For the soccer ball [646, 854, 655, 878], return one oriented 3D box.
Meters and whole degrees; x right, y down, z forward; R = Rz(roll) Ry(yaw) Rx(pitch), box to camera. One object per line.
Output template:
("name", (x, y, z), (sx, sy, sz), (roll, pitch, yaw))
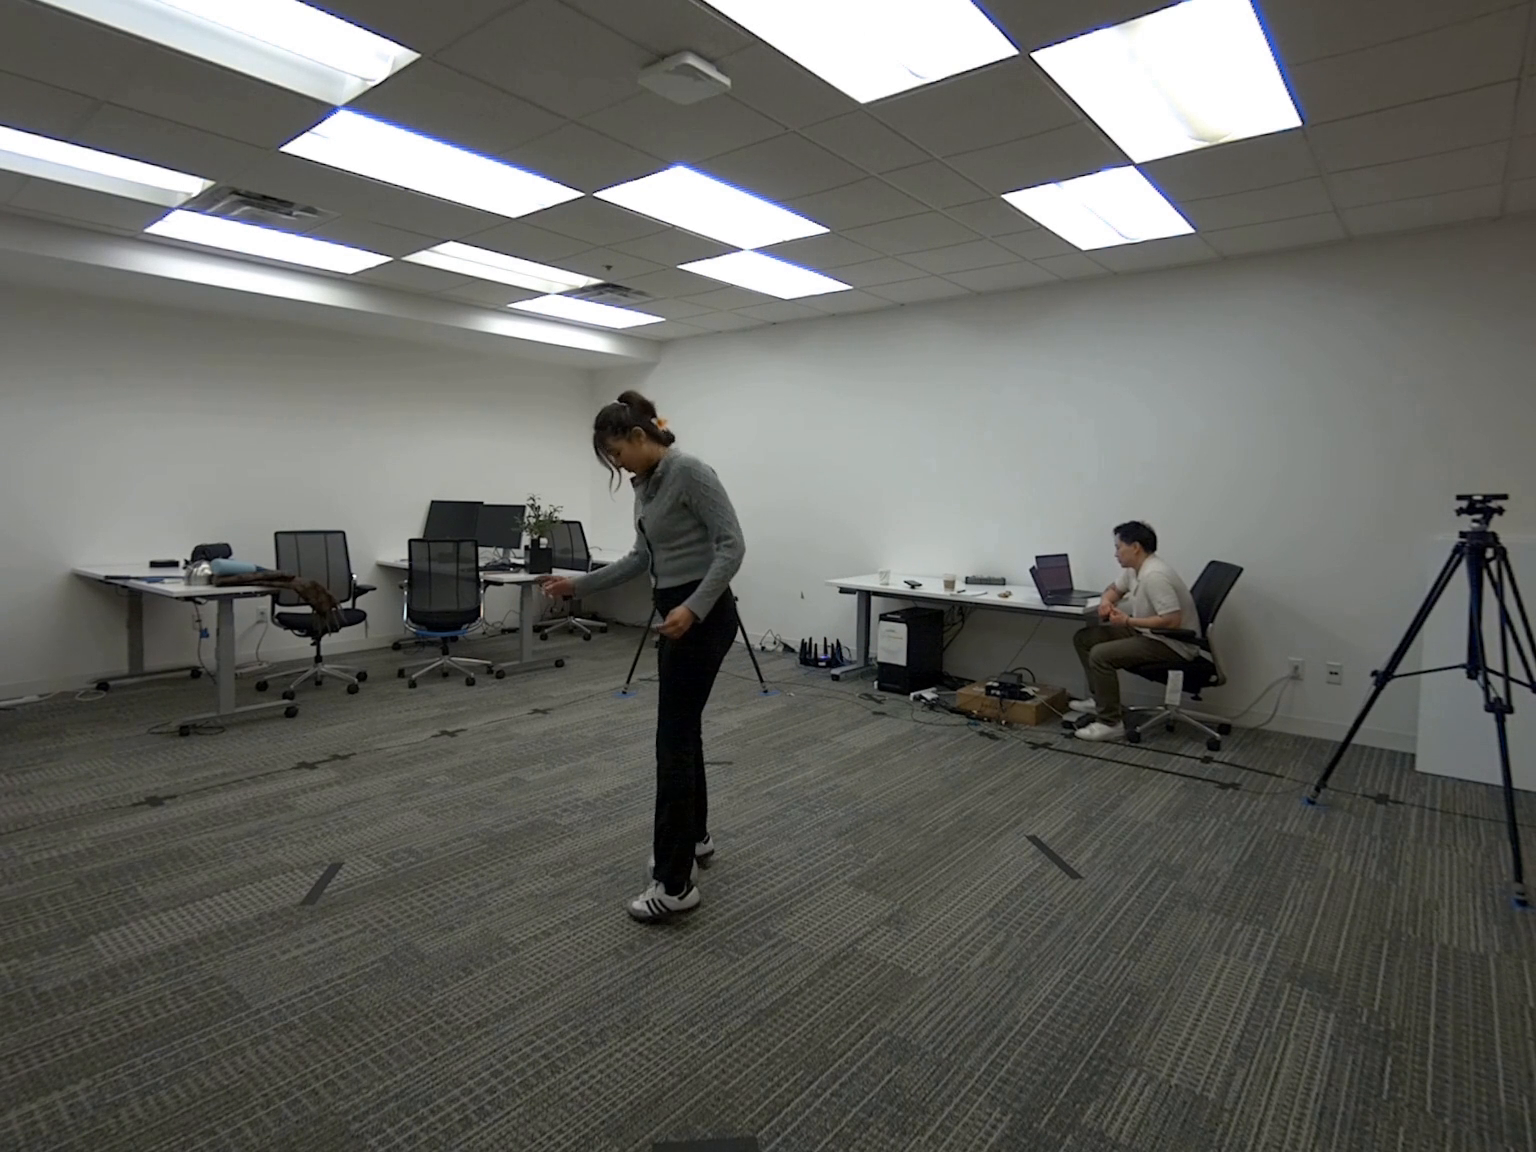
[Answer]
("soccer ball", (-0.319, 0.990, 2.847), (0.187, 0.187, 0.188), (1, 4, -2))
